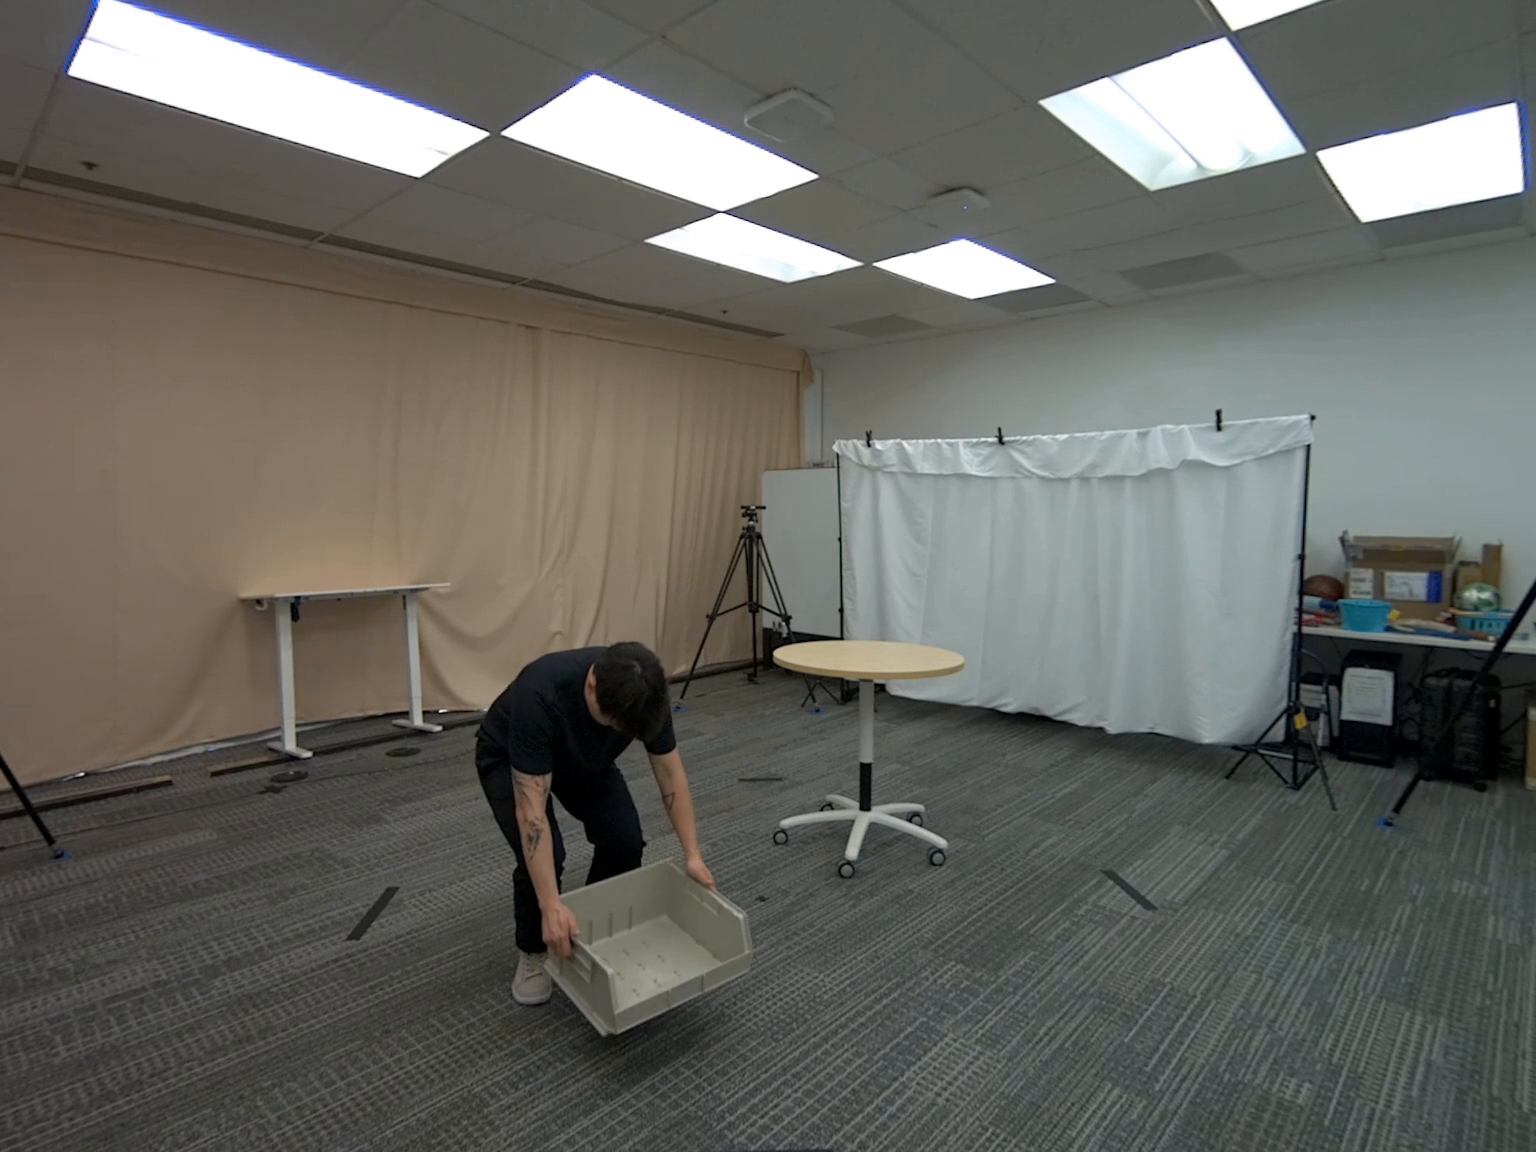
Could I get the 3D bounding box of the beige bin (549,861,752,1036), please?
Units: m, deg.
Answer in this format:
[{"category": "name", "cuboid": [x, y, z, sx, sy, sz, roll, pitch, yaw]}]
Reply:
[{"category": "beige bin", "cuboid": [-0.308, 0.953, 2.194, 0.410, 0.188, 0.390, -6, 12, -40]}]
